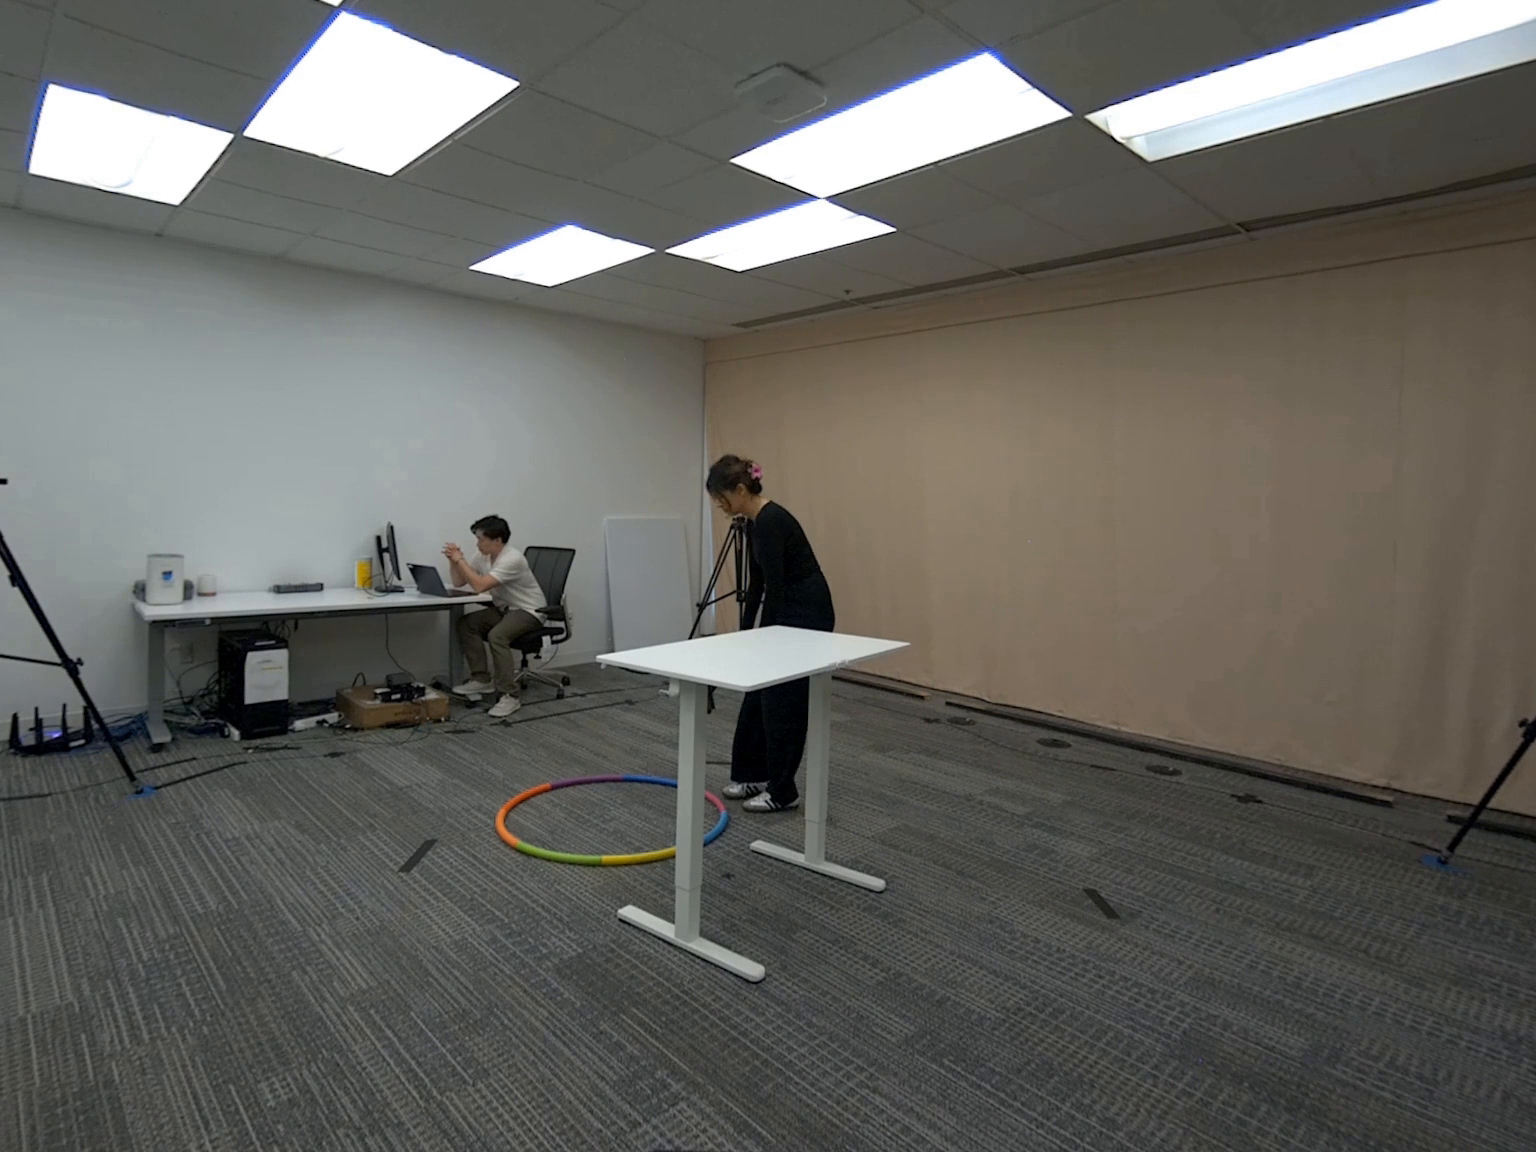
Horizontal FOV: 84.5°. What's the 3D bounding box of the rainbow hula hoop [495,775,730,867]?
[{"bbox_3d":[-0.674,1.021,3.639,0.978,0.035,0.982,2,5,-1],"label":"rainbow hula hoop"}]
